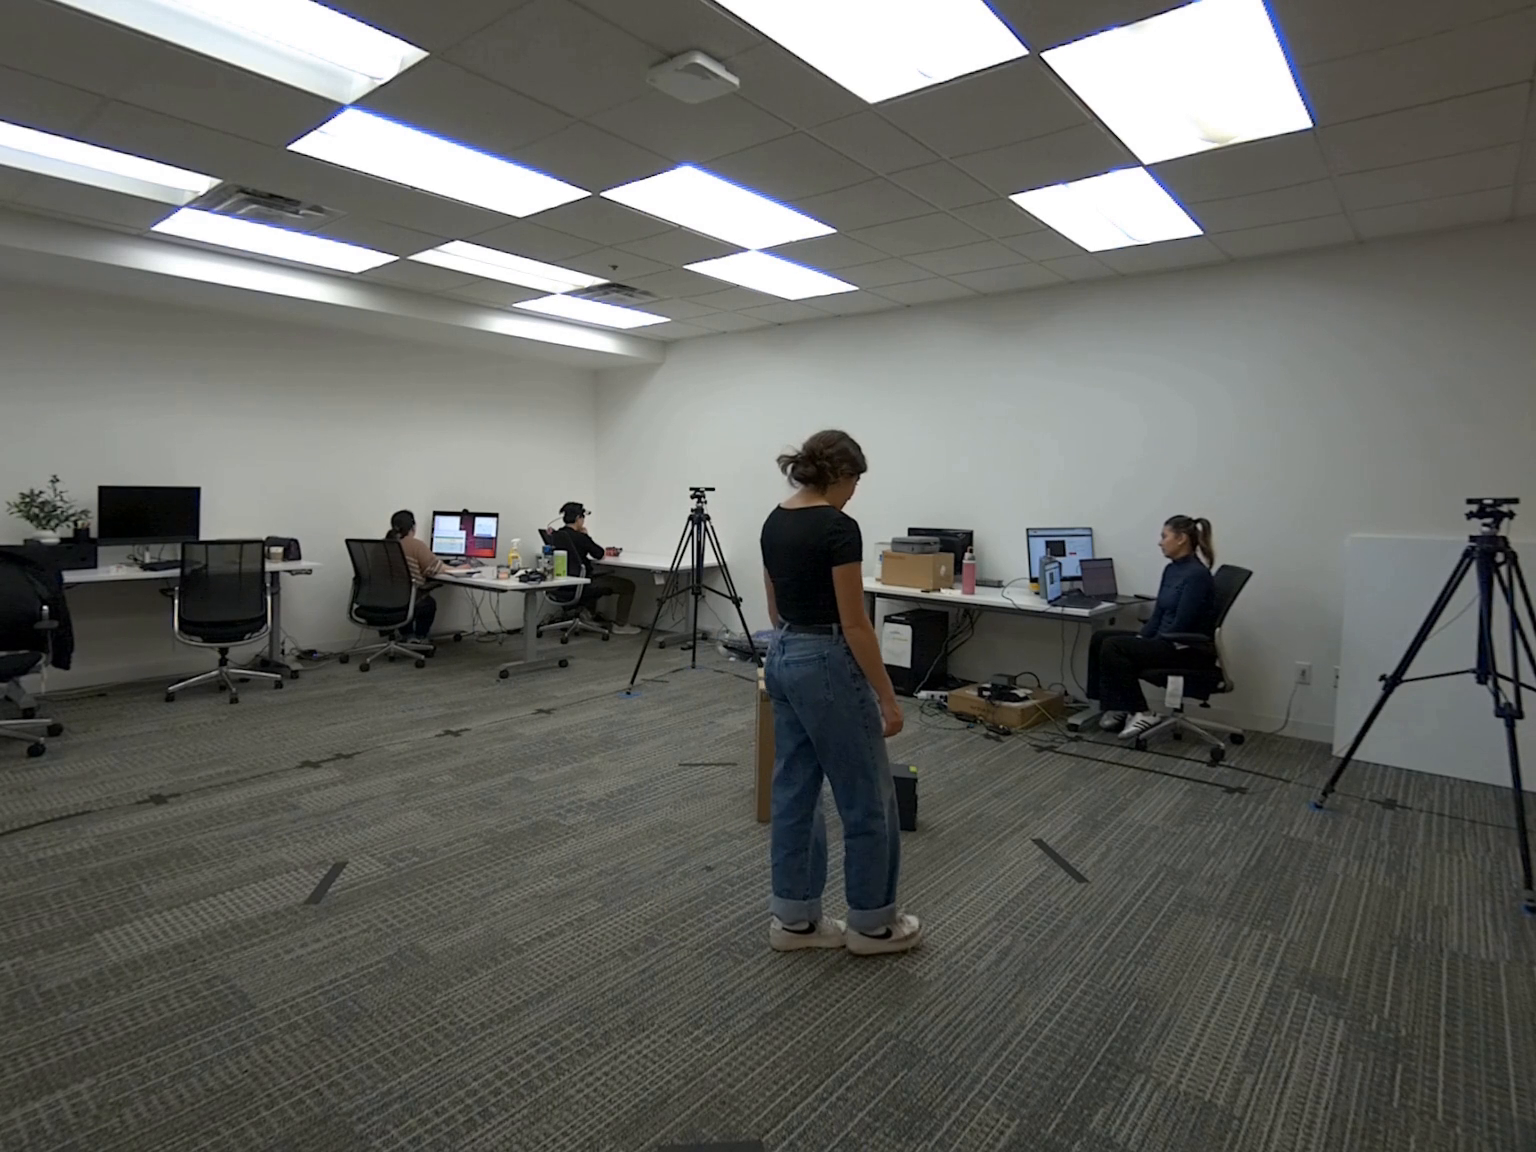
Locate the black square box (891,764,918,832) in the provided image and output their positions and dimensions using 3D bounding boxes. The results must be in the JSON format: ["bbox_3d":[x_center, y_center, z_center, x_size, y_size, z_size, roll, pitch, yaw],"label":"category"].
[{"bbox_3d":[0.509,0.912,3.574,0.219,0.227,0.155,3,5,8],"label":"black square box"}]
